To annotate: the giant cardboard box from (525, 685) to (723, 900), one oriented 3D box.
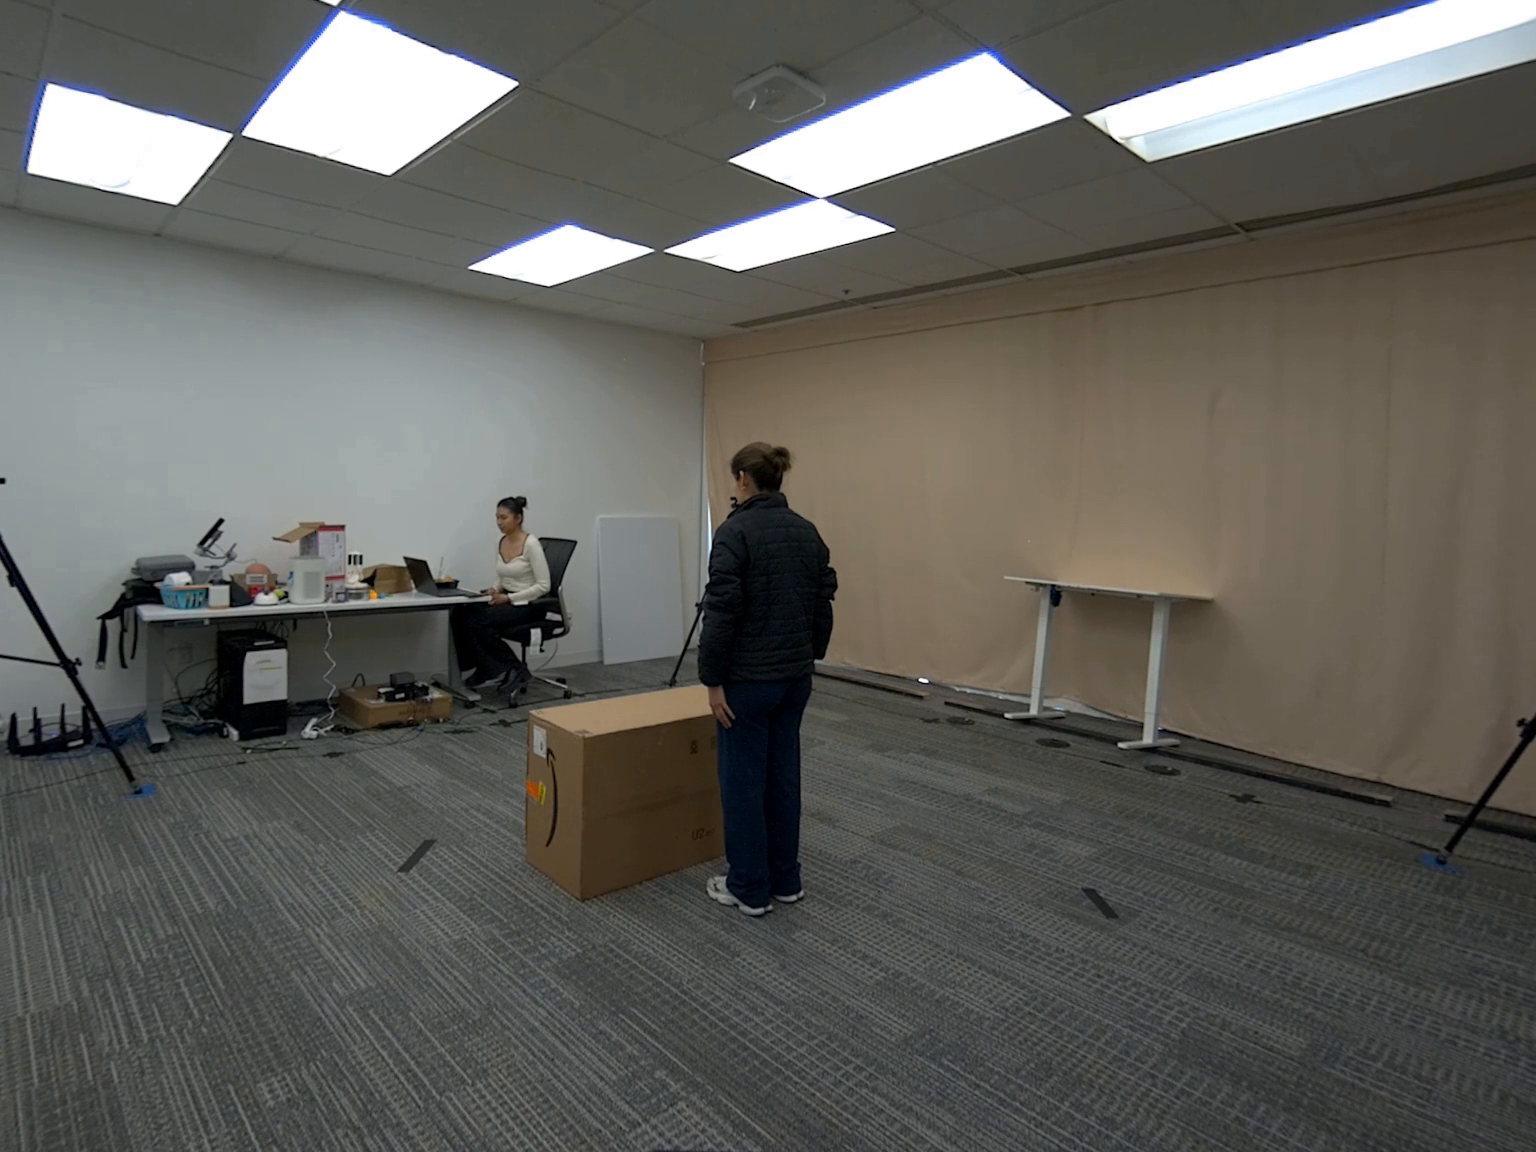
[{"bbox_3d":[-0.404,0.796,3.336,1.004,0.582,0.458,-2,6,-40],"label":"giant cardboard box"}]
